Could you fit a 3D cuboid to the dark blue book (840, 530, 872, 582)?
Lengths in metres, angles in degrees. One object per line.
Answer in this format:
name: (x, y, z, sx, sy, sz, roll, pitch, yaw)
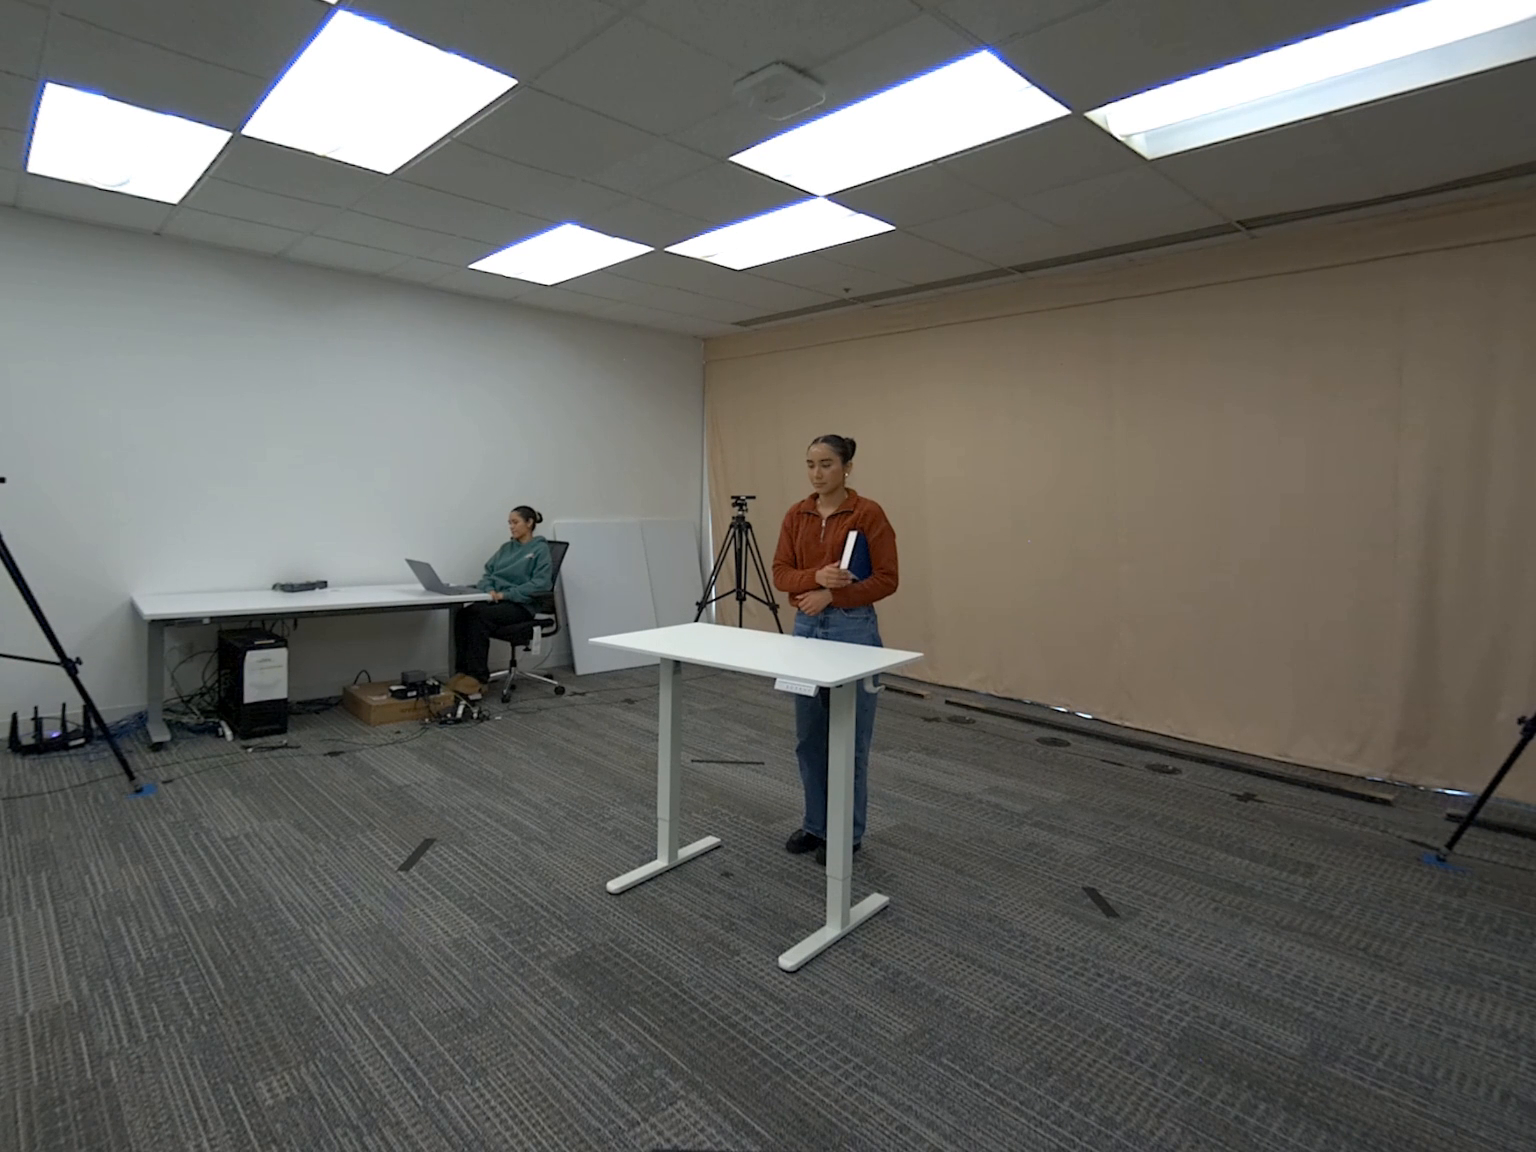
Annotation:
dark blue book: (0.352, -0.055, 3.222, 0.046, 0.165, 0.237, 0, -24, 41)
